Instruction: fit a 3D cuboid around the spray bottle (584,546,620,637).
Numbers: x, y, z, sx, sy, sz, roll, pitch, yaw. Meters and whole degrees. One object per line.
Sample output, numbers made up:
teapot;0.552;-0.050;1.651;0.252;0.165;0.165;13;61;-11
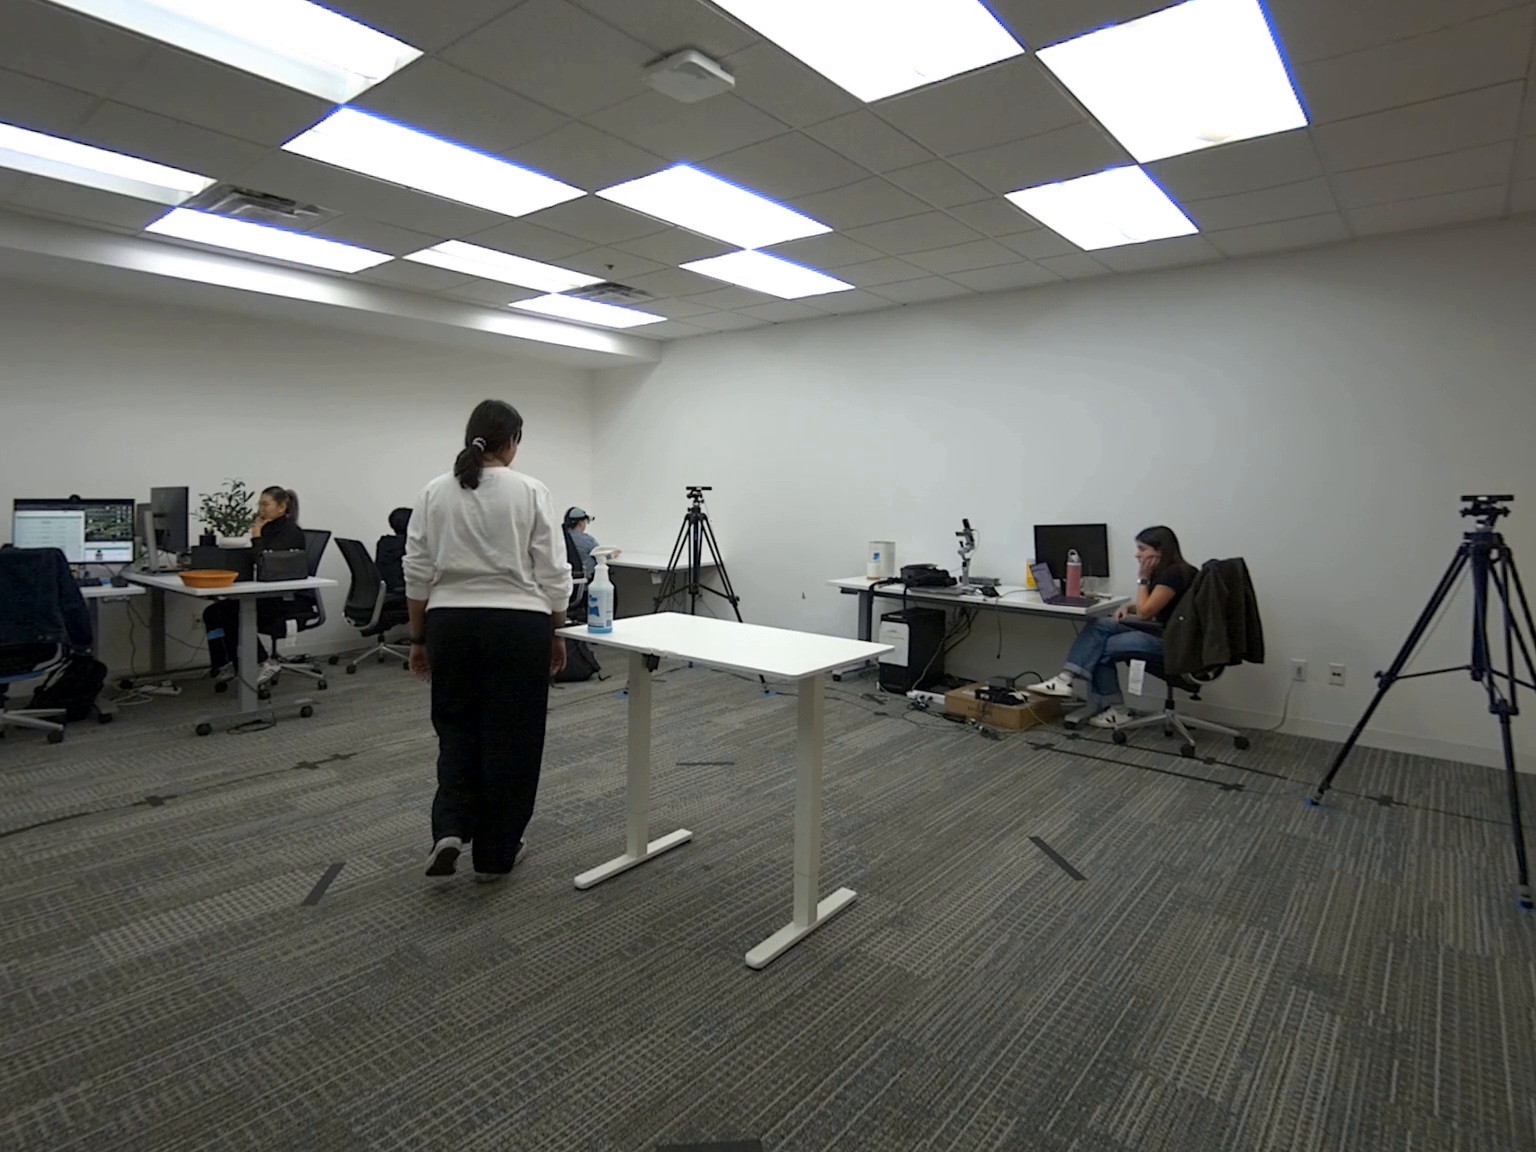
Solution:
spray bottle;-0.579;0.050;2.920;0.091;0.296;0.086;3;3;8
